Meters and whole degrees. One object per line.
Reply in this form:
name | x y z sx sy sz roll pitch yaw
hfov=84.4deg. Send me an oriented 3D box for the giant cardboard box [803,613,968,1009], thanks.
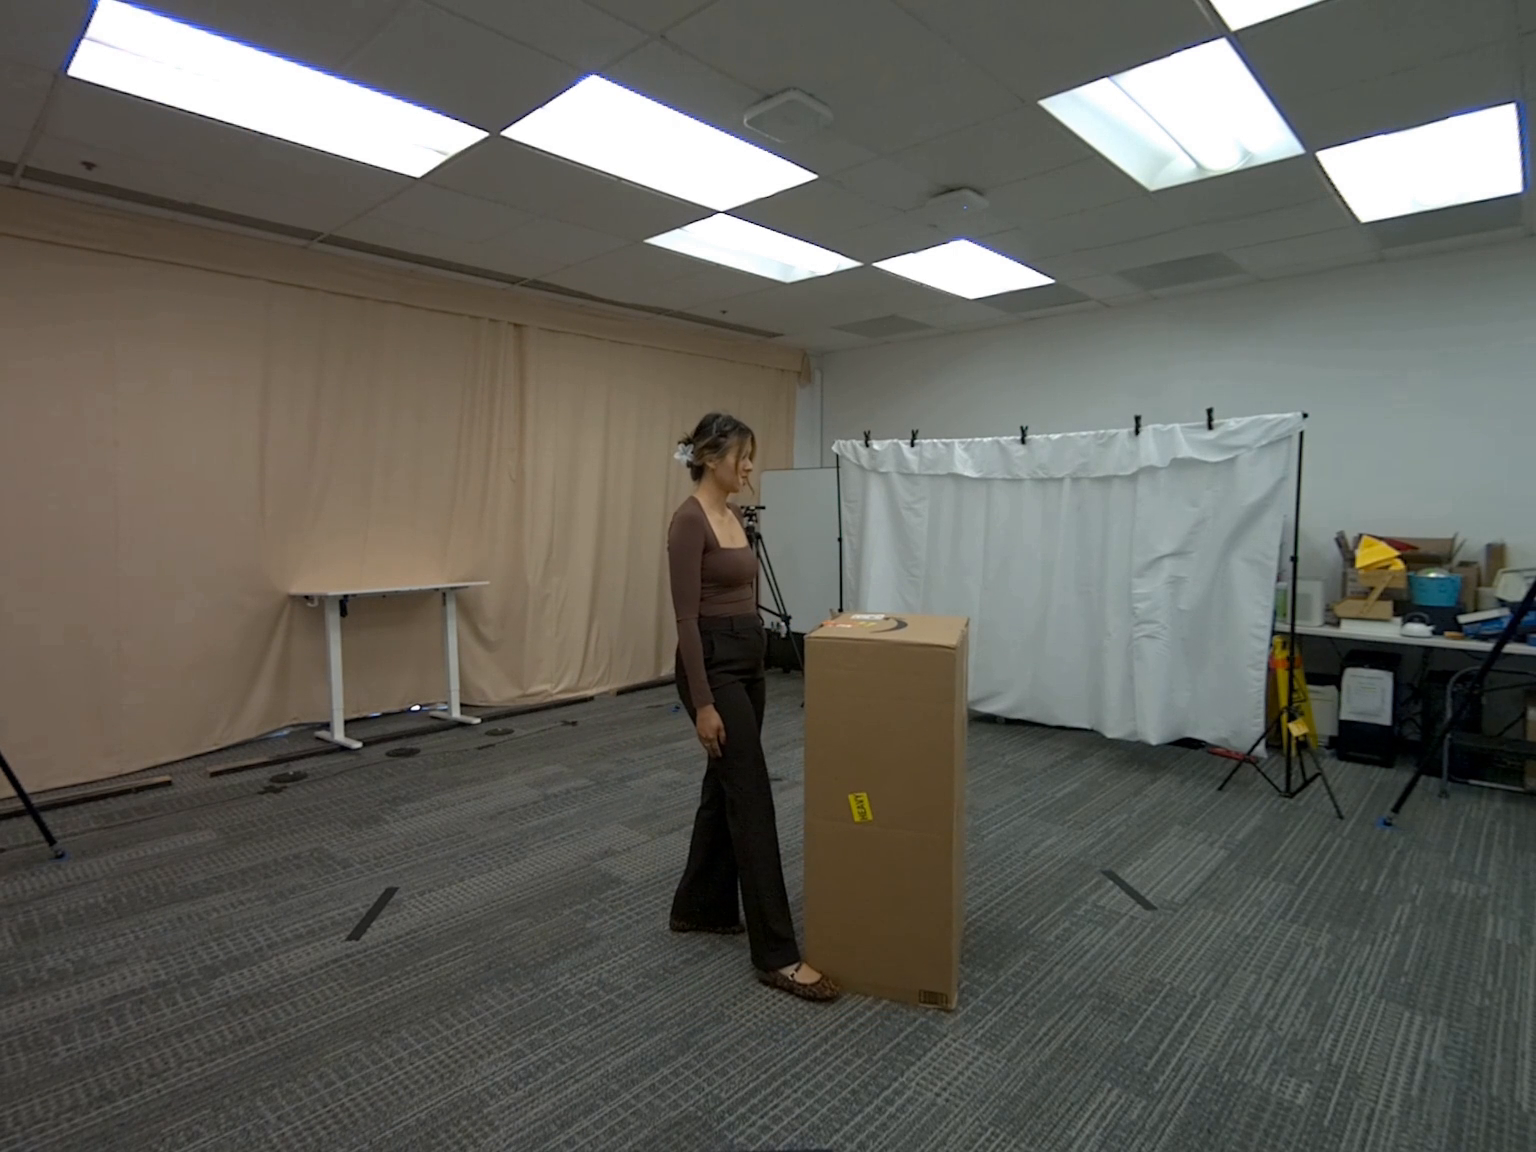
giant cardboard box | 0.384 0.663 2.621 0.456 1.025 0.573 1 4 19
